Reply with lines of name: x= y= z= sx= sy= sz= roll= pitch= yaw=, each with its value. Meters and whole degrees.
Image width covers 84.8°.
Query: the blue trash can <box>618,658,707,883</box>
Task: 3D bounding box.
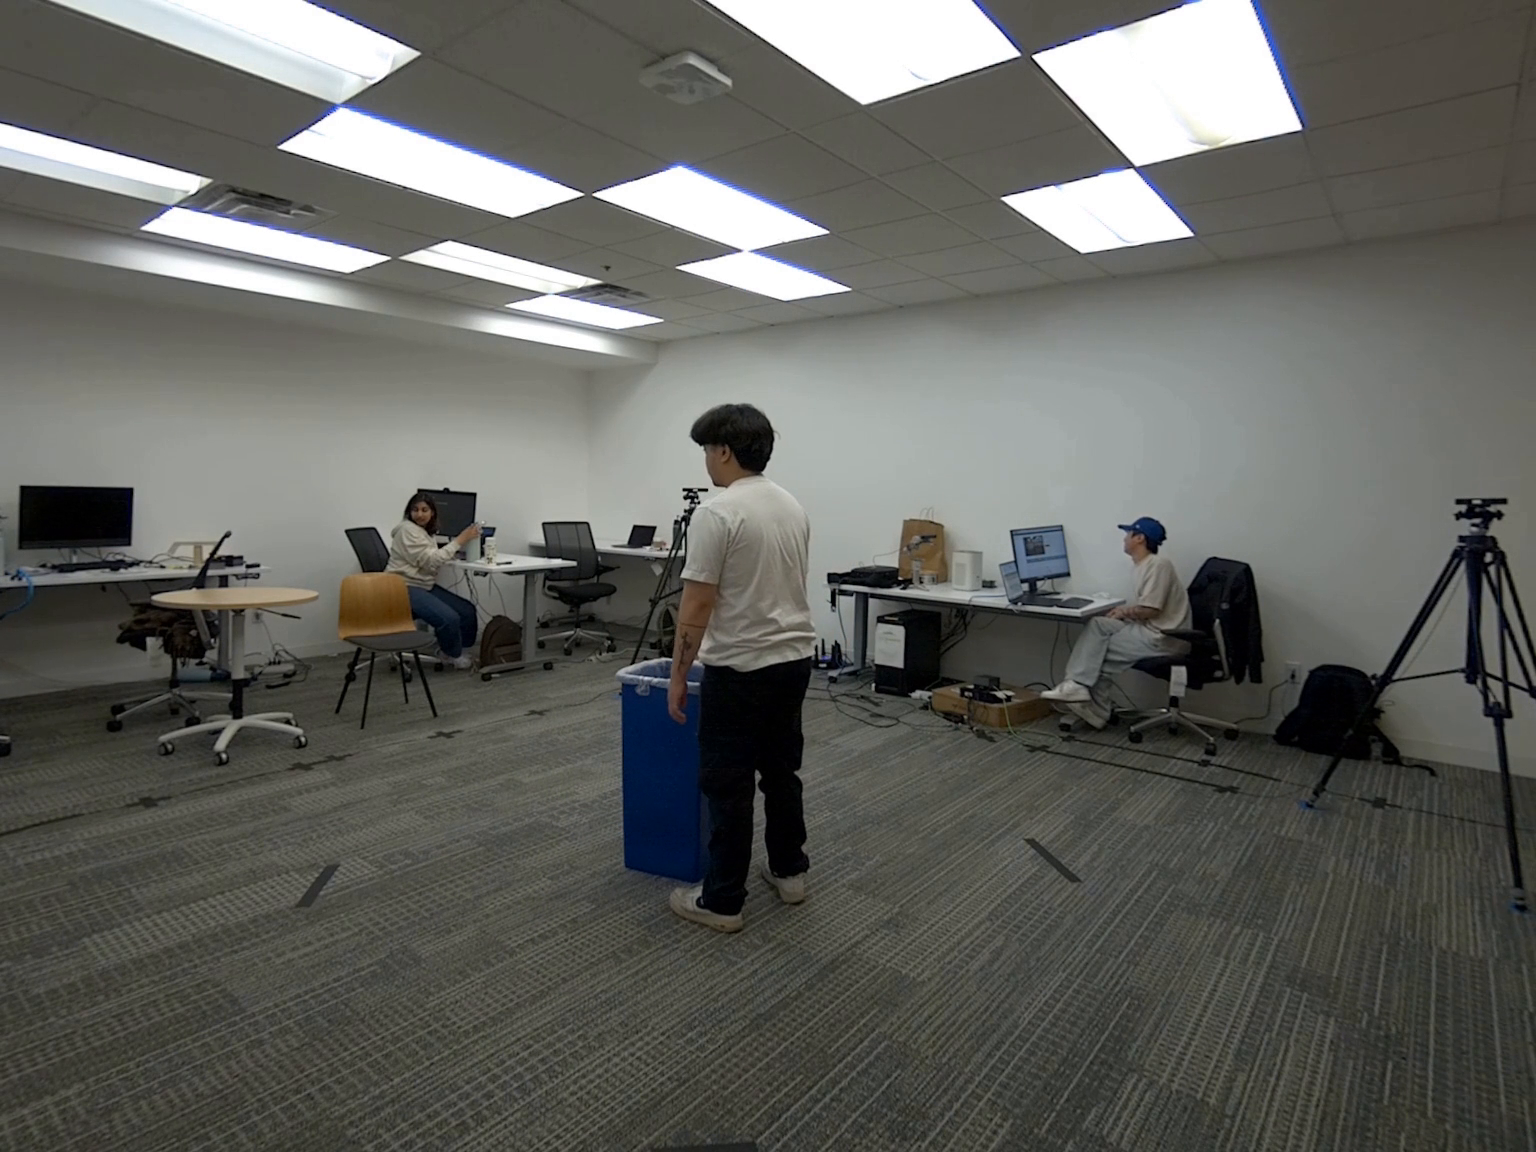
blue trash can: x=-0.341 y=0.702 z=3.181 sx=0.387 sy=0.712 sz=0.366 roll=3 pitch=3 yaw=23
